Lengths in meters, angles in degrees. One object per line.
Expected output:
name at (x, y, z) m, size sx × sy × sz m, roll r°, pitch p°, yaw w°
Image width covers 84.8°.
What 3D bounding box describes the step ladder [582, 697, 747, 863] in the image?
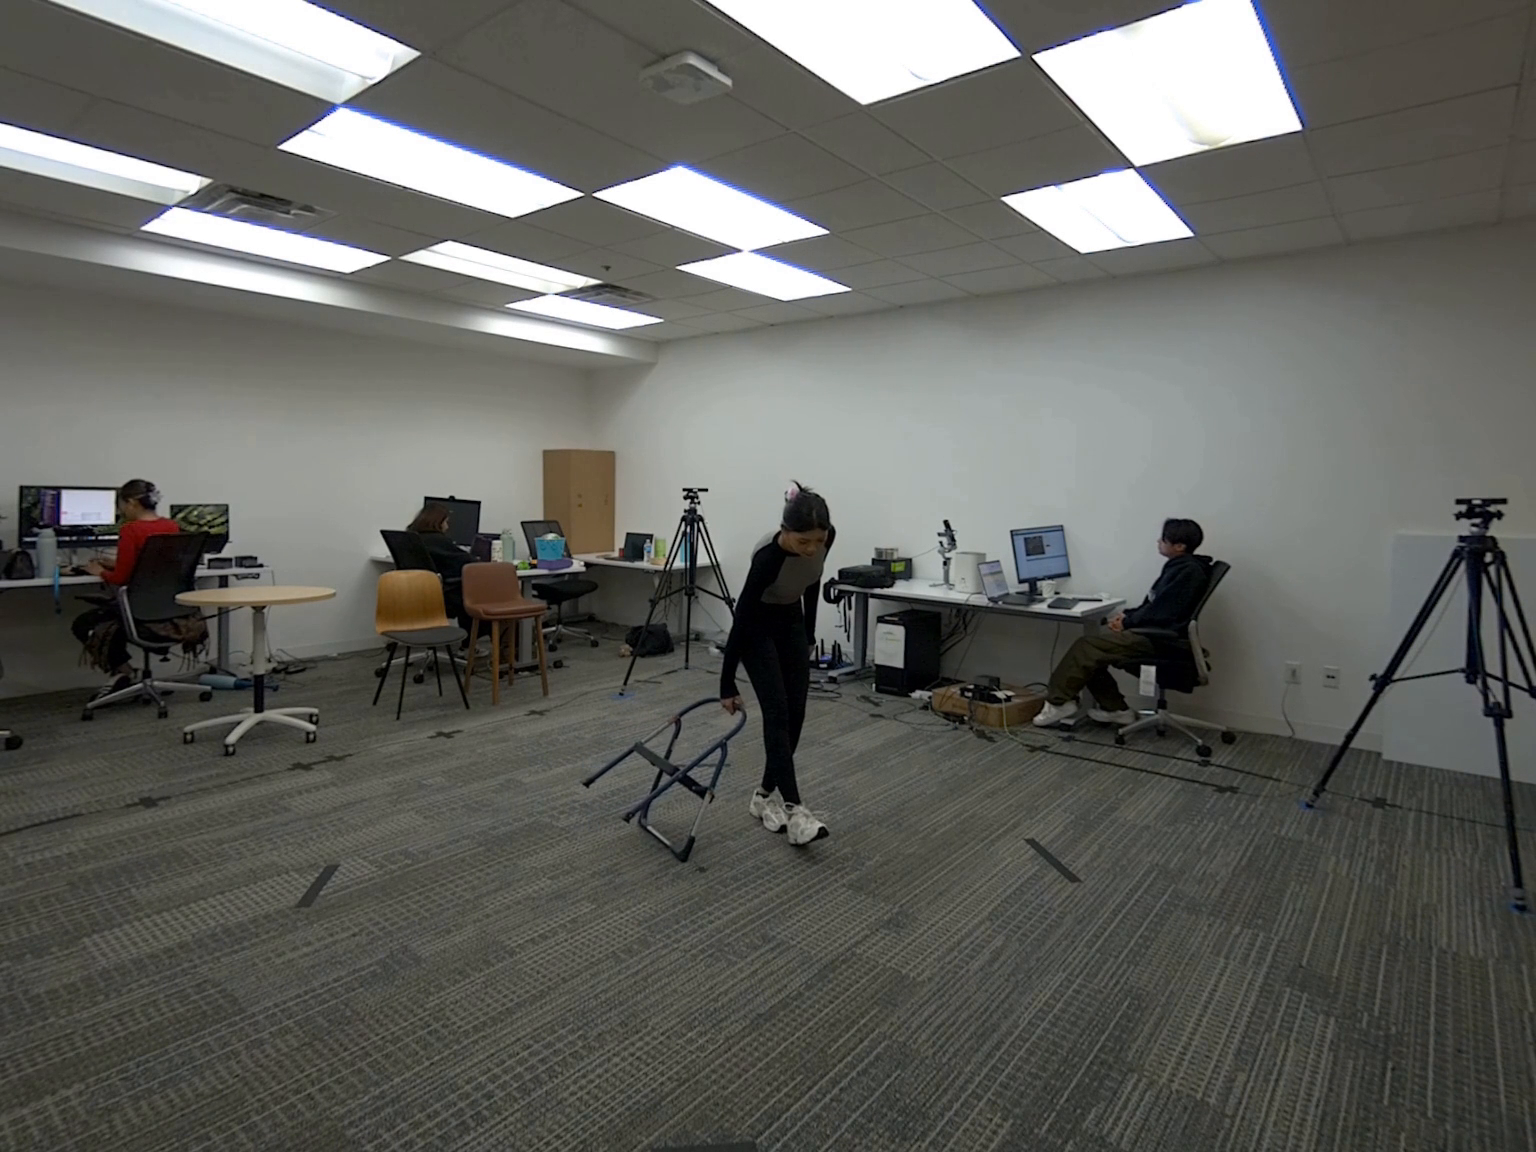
step ladder at (-0.371, 0.709, 3.353) m, size 0.337 × 0.607 × 0.444 m, roll 44°, pitch -18°, yaw -28°
